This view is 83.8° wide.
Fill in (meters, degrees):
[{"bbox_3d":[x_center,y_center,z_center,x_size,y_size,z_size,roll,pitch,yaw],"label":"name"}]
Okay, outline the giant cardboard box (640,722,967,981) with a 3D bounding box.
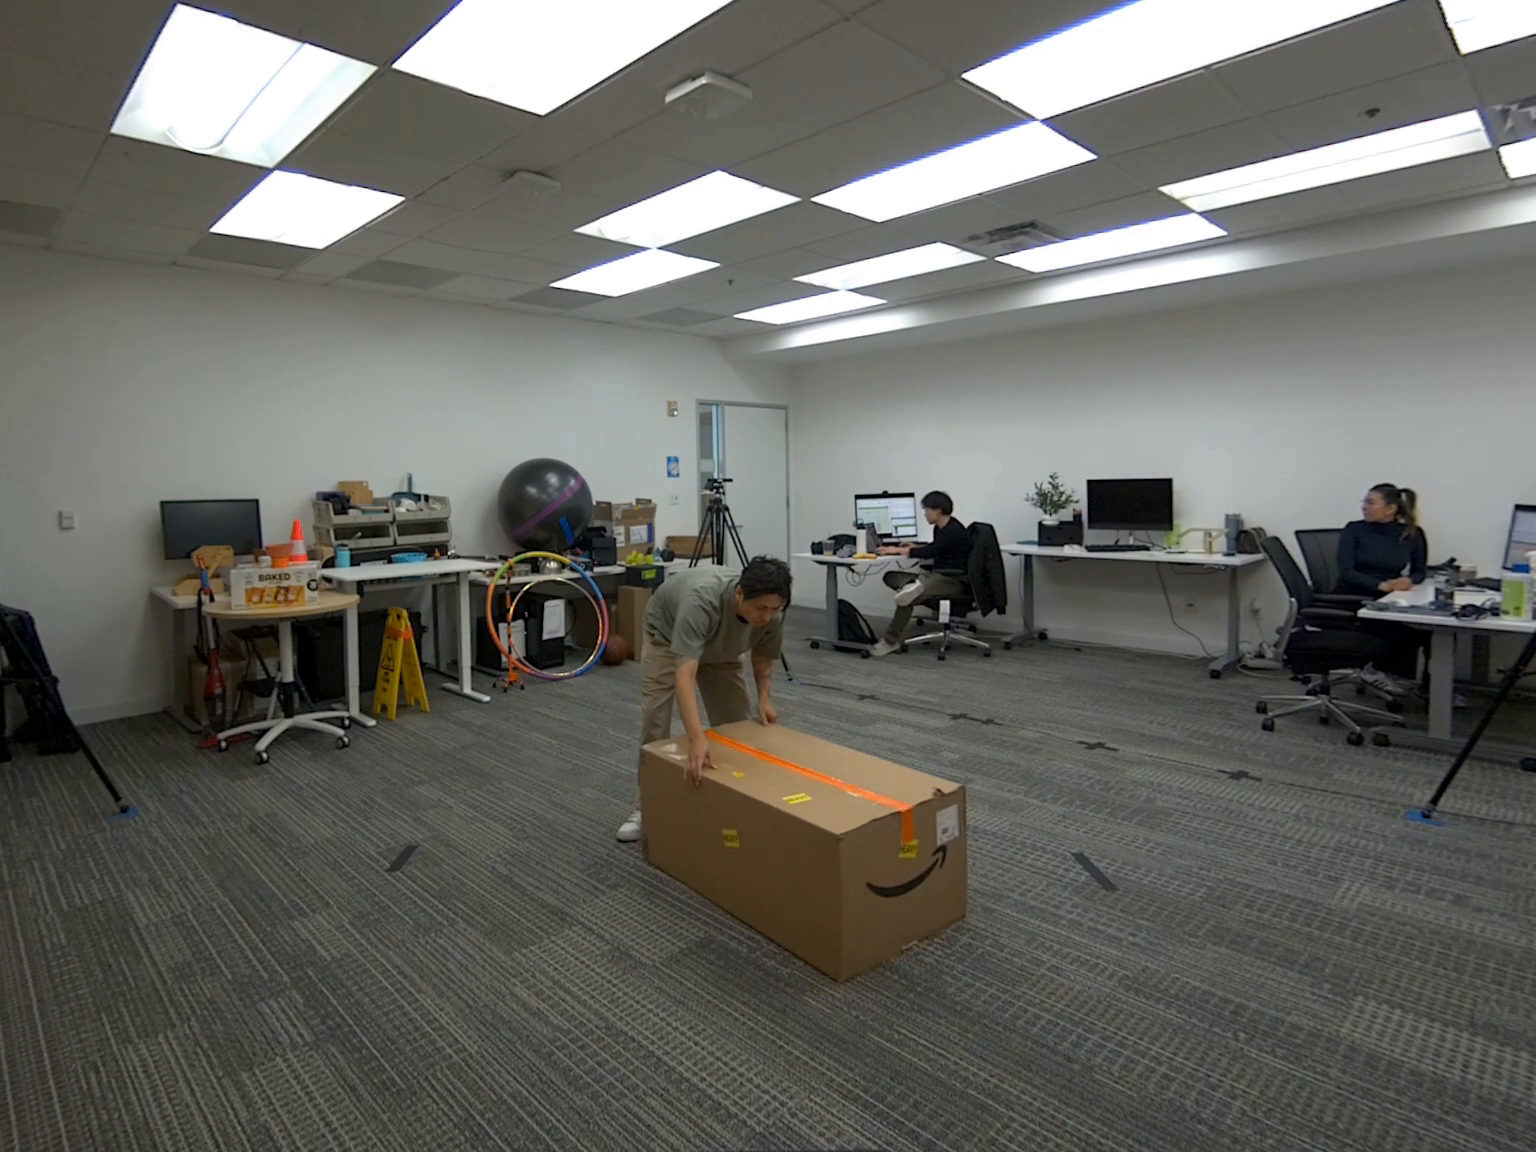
[{"bbox_3d":[0.079,0.853,2.908,0.562,0.424,1.057,-4,7,-39],"label":"giant cardboard box"}]
